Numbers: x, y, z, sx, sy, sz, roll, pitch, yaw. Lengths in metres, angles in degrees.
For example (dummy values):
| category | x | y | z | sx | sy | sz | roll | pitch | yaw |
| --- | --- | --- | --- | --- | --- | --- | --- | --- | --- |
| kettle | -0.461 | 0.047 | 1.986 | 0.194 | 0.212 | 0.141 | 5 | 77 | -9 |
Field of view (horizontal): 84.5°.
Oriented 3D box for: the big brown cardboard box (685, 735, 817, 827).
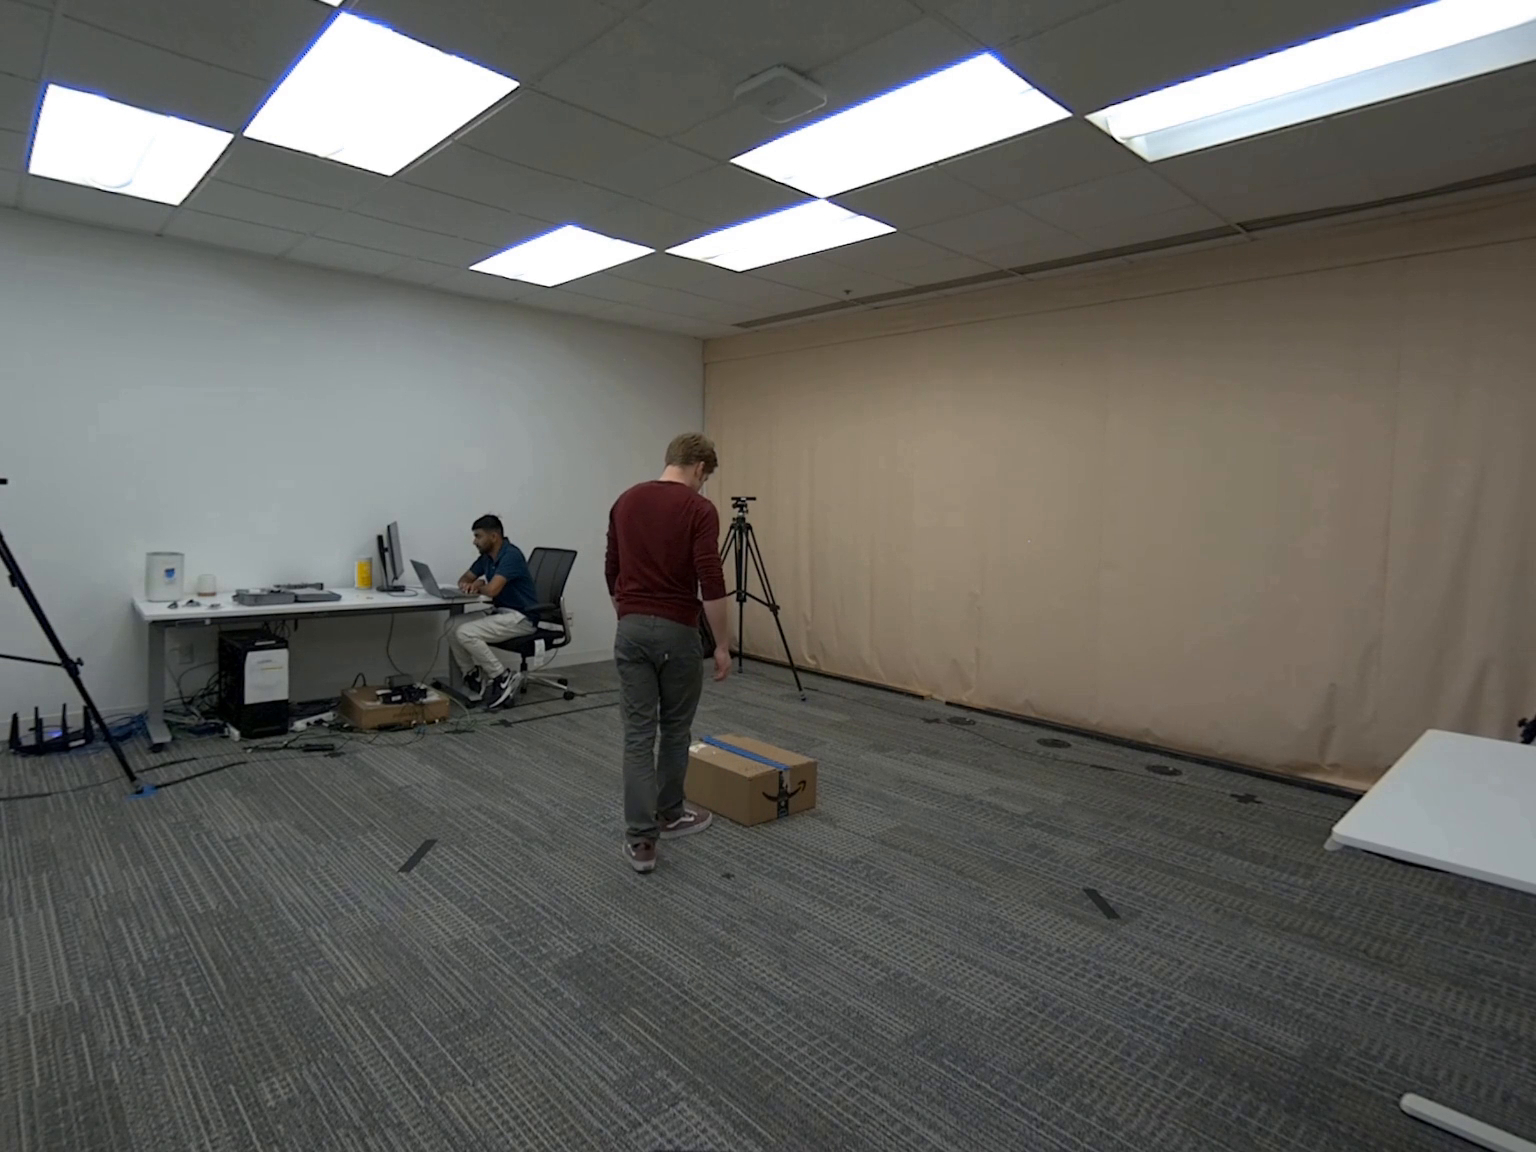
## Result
| category | x | y | z | sx | sy | sz | roll | pitch | yaw |
| --- | --- | --- | --- | --- | --- | --- | --- | --- | --- |
| big brown cardboard box | -0.132 | 0.924 | 3.910 | 0.408 | 0.232 | 0.604 | -2 | 6 | -43 |
